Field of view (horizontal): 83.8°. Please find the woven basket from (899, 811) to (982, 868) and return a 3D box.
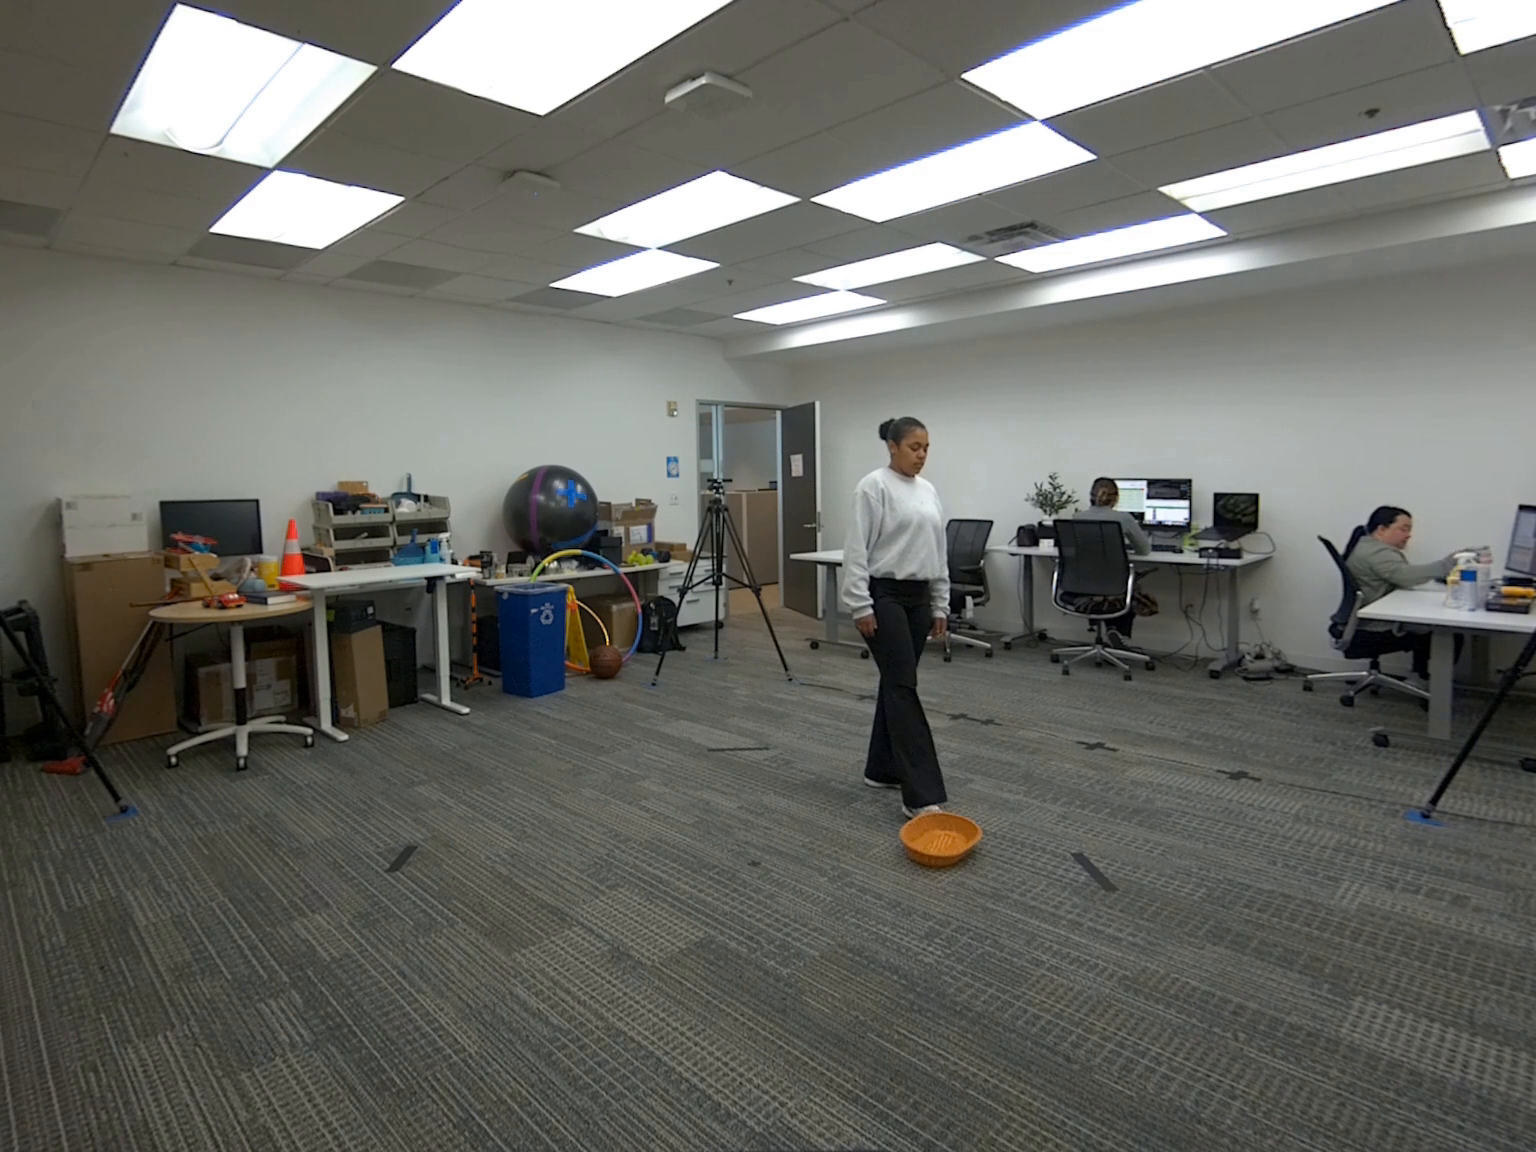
[{"bbox_3d":[0.637,0.977,3.181,0.261,0.073,0.342,12,17,41],"label":"woven basket"}]
